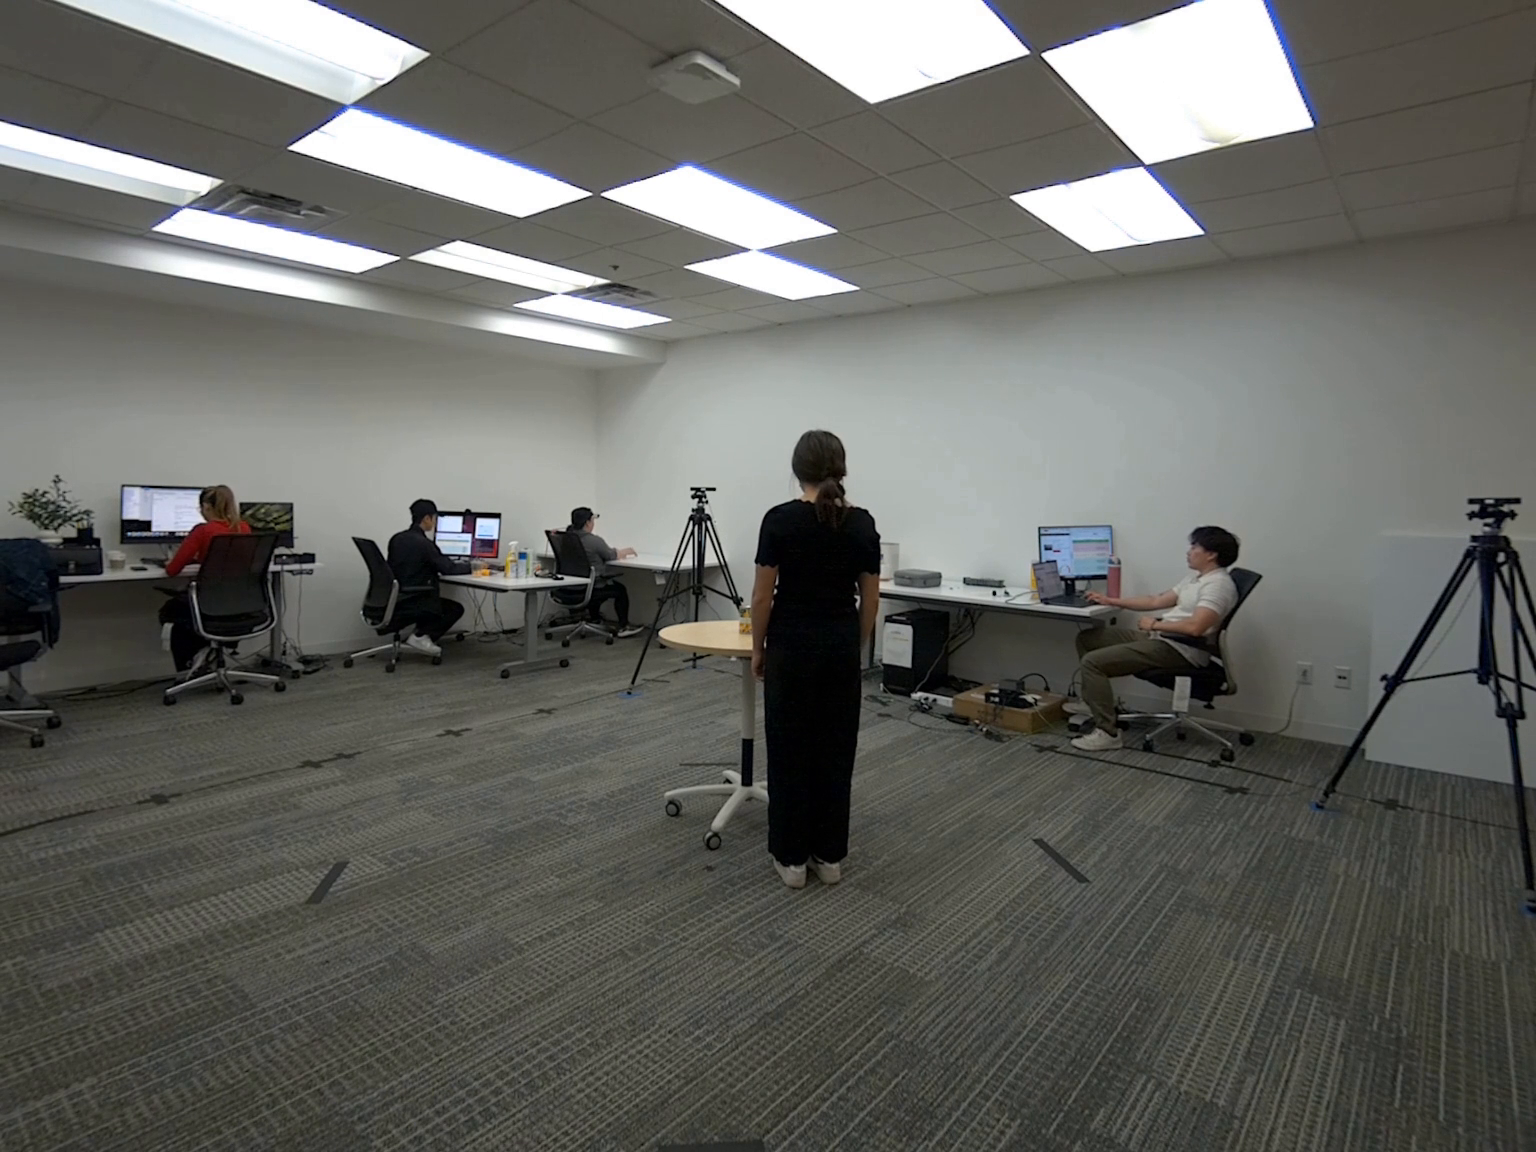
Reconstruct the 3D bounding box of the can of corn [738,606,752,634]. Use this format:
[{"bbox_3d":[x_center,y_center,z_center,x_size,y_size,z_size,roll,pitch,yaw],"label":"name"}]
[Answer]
[{"bbox_3d":[-0.097,0.183,3.588,0.074,0.111,0.074,3,2,-2],"label":"can of corn"}]
